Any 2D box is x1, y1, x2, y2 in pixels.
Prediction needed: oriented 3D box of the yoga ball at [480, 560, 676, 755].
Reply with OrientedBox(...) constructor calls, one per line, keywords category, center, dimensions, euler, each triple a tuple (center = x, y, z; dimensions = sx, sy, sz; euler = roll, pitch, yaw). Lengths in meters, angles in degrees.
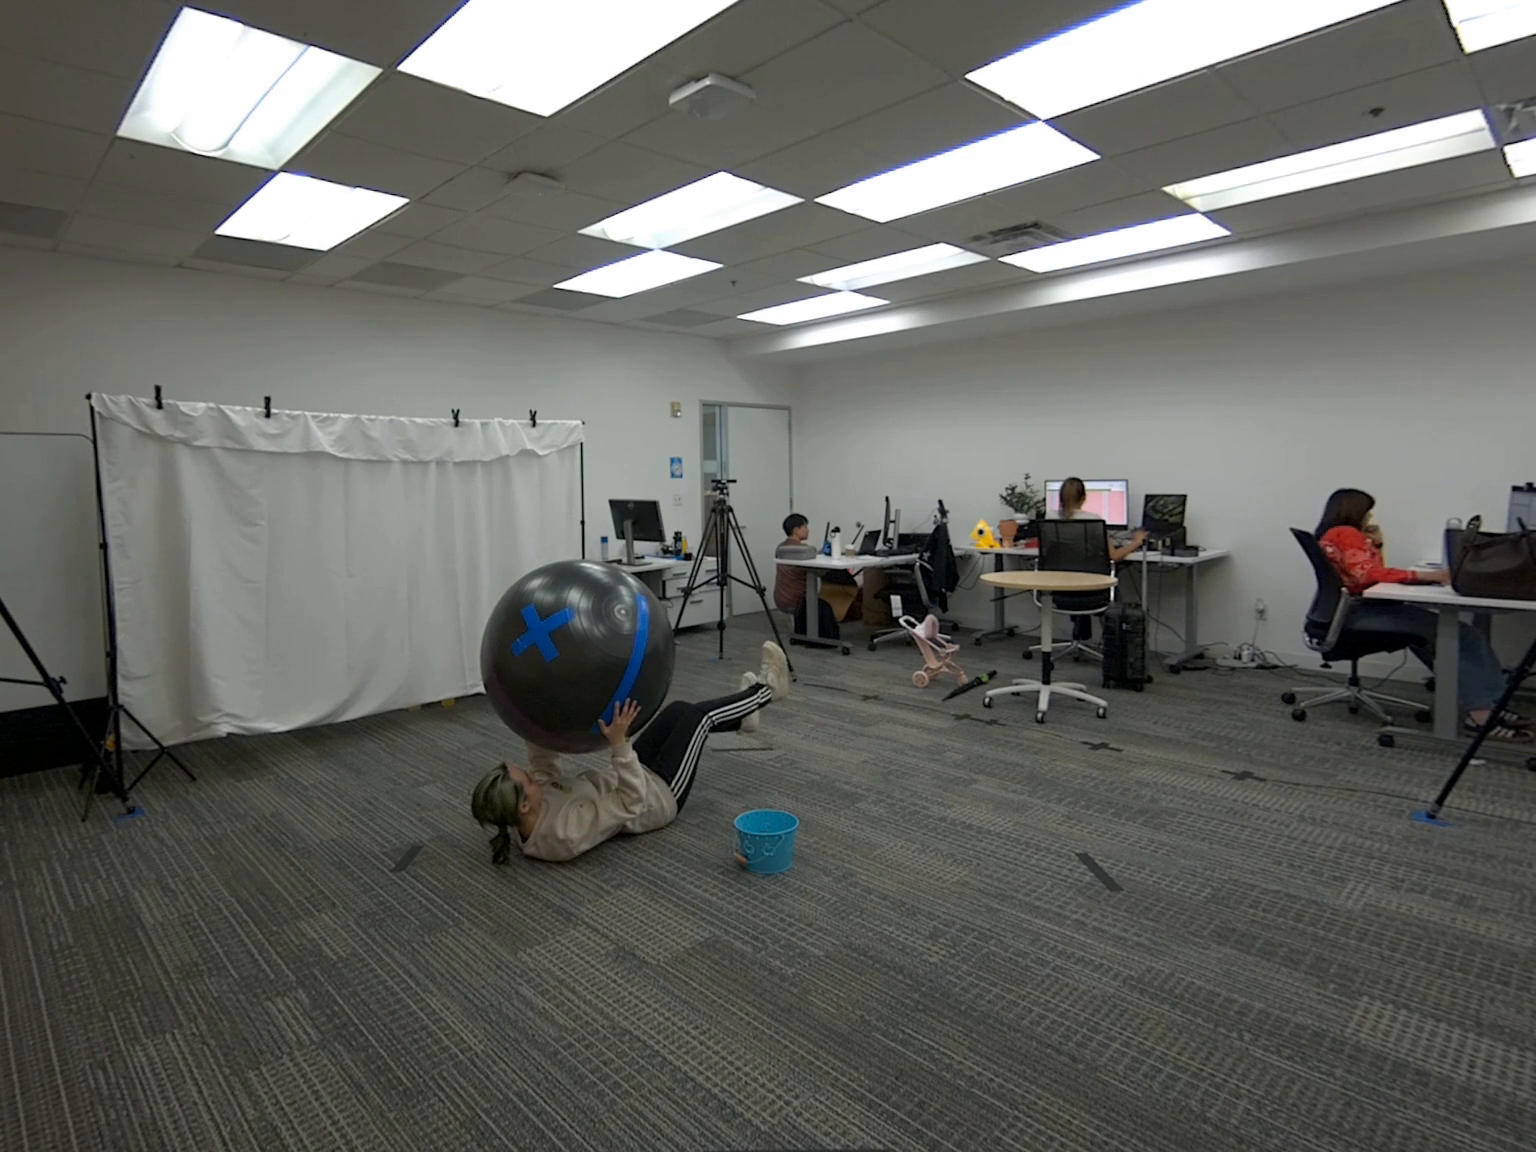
OrientedBox(category="yoga ball", center=(-0.746, 0.311, 3.376), dimensions=(0.757, 0.755, 0.762), euler=(-1, 5, -2))
